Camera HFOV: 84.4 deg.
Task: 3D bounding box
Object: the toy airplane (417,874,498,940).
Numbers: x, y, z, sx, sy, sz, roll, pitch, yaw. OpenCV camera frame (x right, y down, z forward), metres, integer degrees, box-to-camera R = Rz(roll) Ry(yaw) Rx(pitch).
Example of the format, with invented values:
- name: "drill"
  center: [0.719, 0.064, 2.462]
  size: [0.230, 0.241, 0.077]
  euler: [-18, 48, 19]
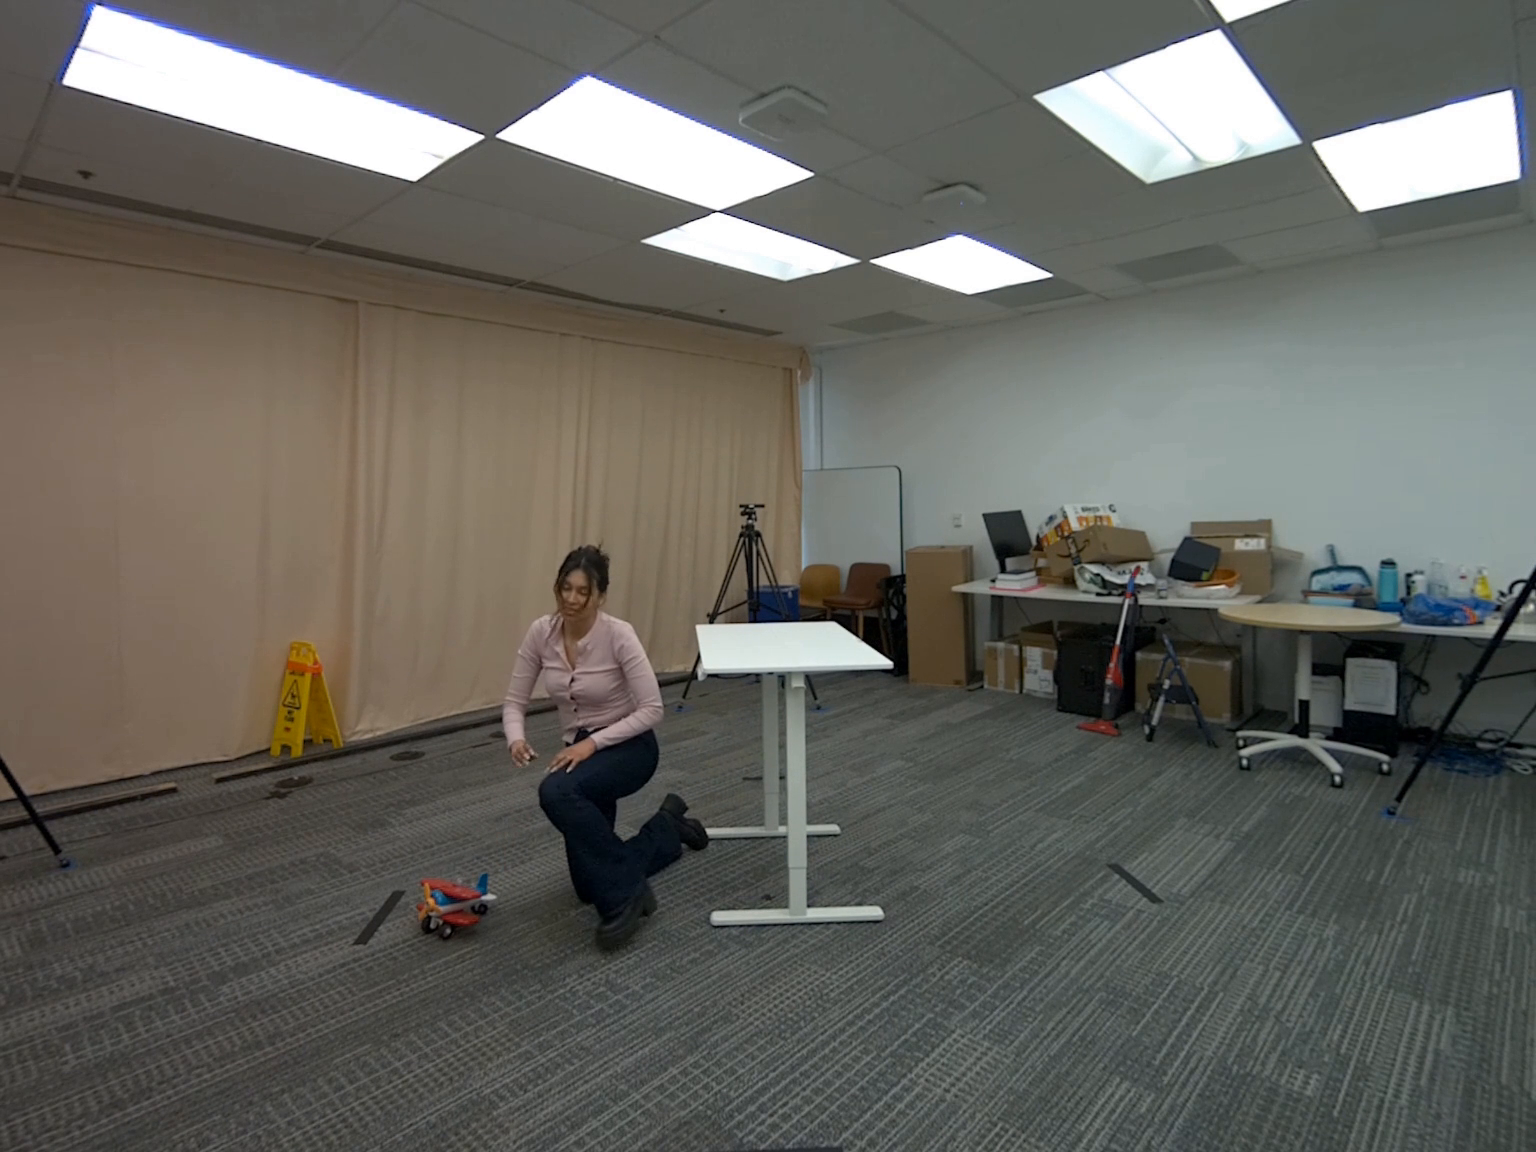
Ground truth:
- name: "toy airplane"
  center: [-1.078, 1.110, 2.834]
  size: [0.252, 0.156, 0.259]
  euler: [-2, 5, 3]
